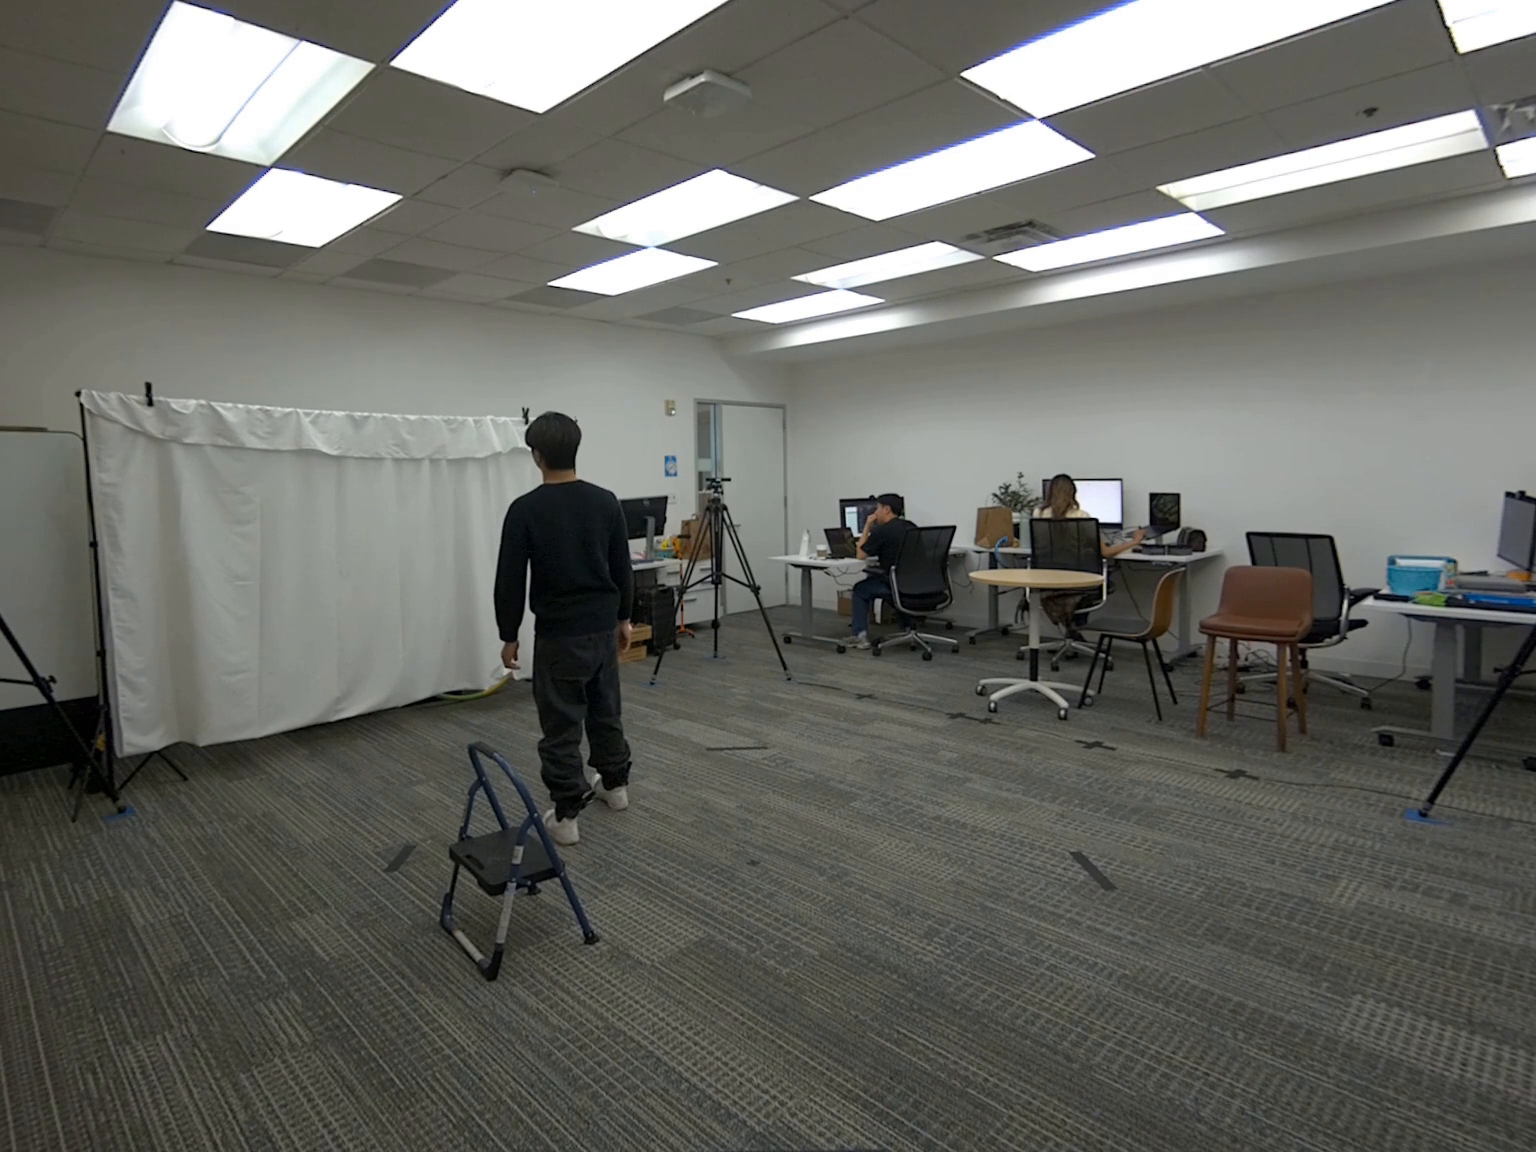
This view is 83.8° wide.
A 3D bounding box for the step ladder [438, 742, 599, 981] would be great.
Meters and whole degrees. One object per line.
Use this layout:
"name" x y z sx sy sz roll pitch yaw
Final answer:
"step ladder" -0.790 0.812 2.643 0.340 0.604 0.444 -5 6 -39
